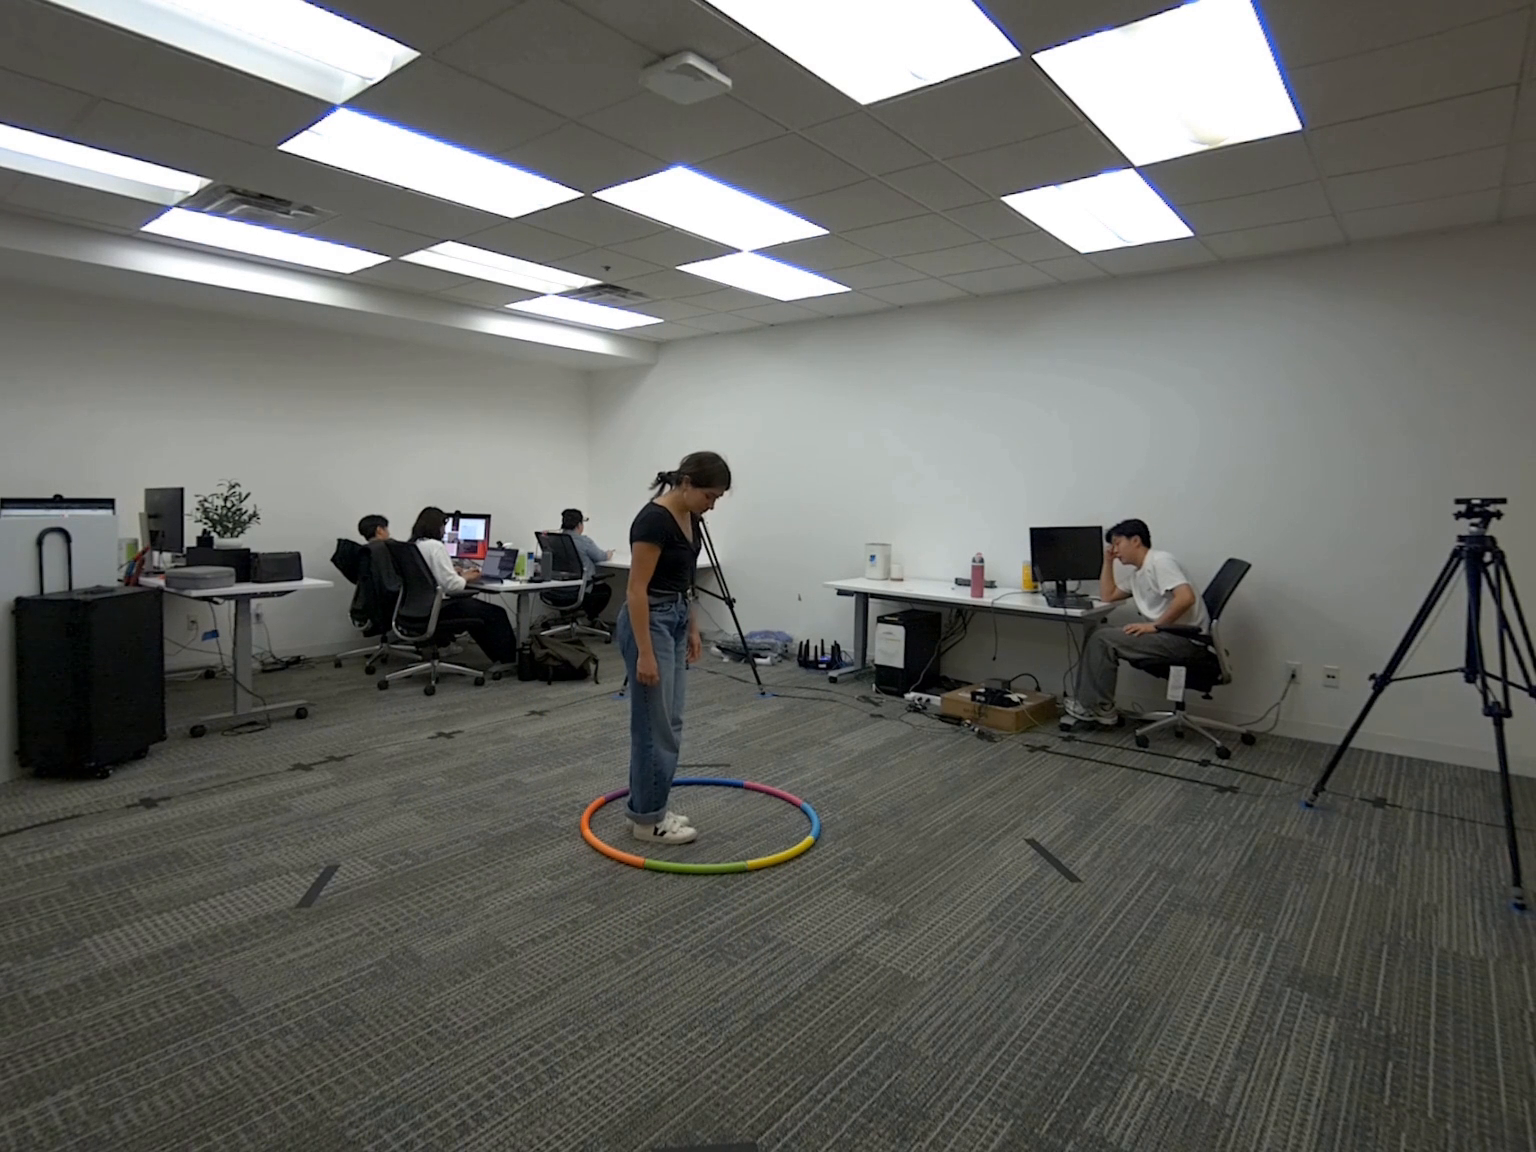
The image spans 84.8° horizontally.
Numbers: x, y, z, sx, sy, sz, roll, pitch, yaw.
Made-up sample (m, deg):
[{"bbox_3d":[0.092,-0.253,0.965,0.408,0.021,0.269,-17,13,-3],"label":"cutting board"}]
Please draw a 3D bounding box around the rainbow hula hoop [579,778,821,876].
[{"bbox_3d":[-0.277,0.991,3.538,0.978,0.035,0.984,1,6,-2],"label":"rainbow hula hoop"}]
